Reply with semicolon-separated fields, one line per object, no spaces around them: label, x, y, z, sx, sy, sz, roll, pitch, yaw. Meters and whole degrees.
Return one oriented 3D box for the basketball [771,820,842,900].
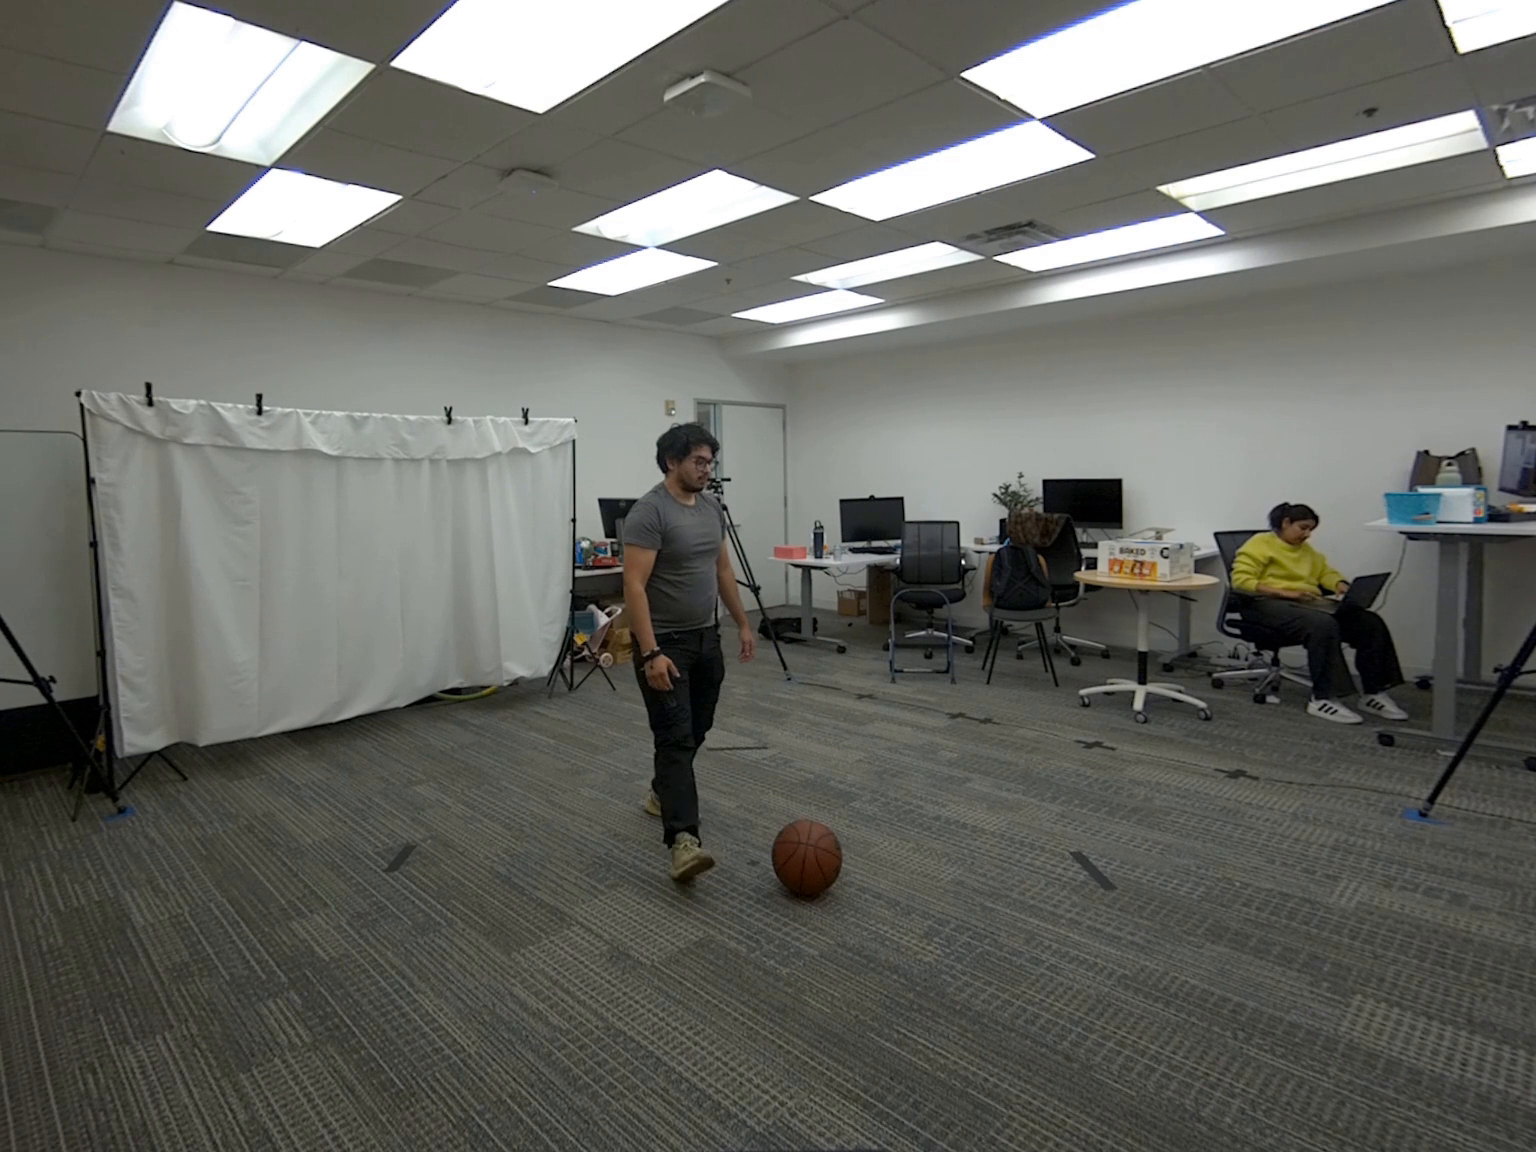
basketball;0.133;0.942;2.877;0.236;0.235;0.237;-1;5;-2
